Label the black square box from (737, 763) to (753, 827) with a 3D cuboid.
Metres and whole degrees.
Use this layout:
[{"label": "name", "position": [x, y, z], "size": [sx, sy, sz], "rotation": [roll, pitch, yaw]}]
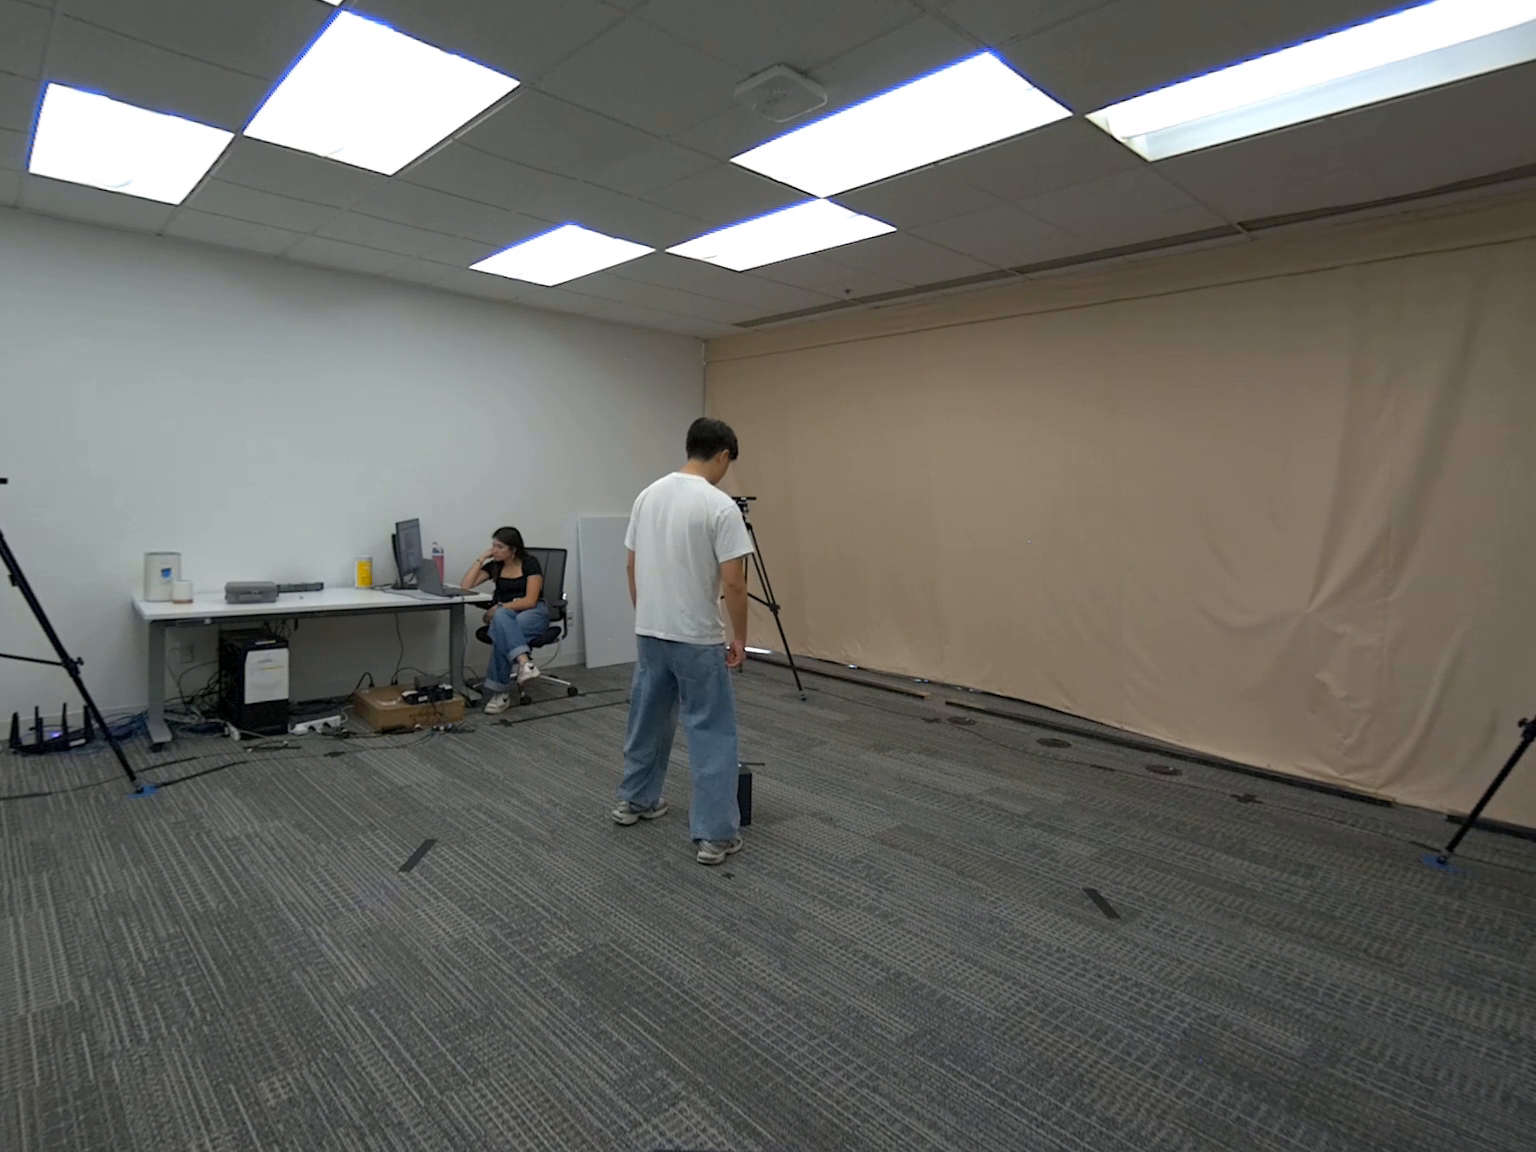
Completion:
[{"label": "black square box", "position": [-0.198, 0.942, 3.629], "size": [0.214, 0.227, 0.158], "rotation": [0, 4, -18]}]
